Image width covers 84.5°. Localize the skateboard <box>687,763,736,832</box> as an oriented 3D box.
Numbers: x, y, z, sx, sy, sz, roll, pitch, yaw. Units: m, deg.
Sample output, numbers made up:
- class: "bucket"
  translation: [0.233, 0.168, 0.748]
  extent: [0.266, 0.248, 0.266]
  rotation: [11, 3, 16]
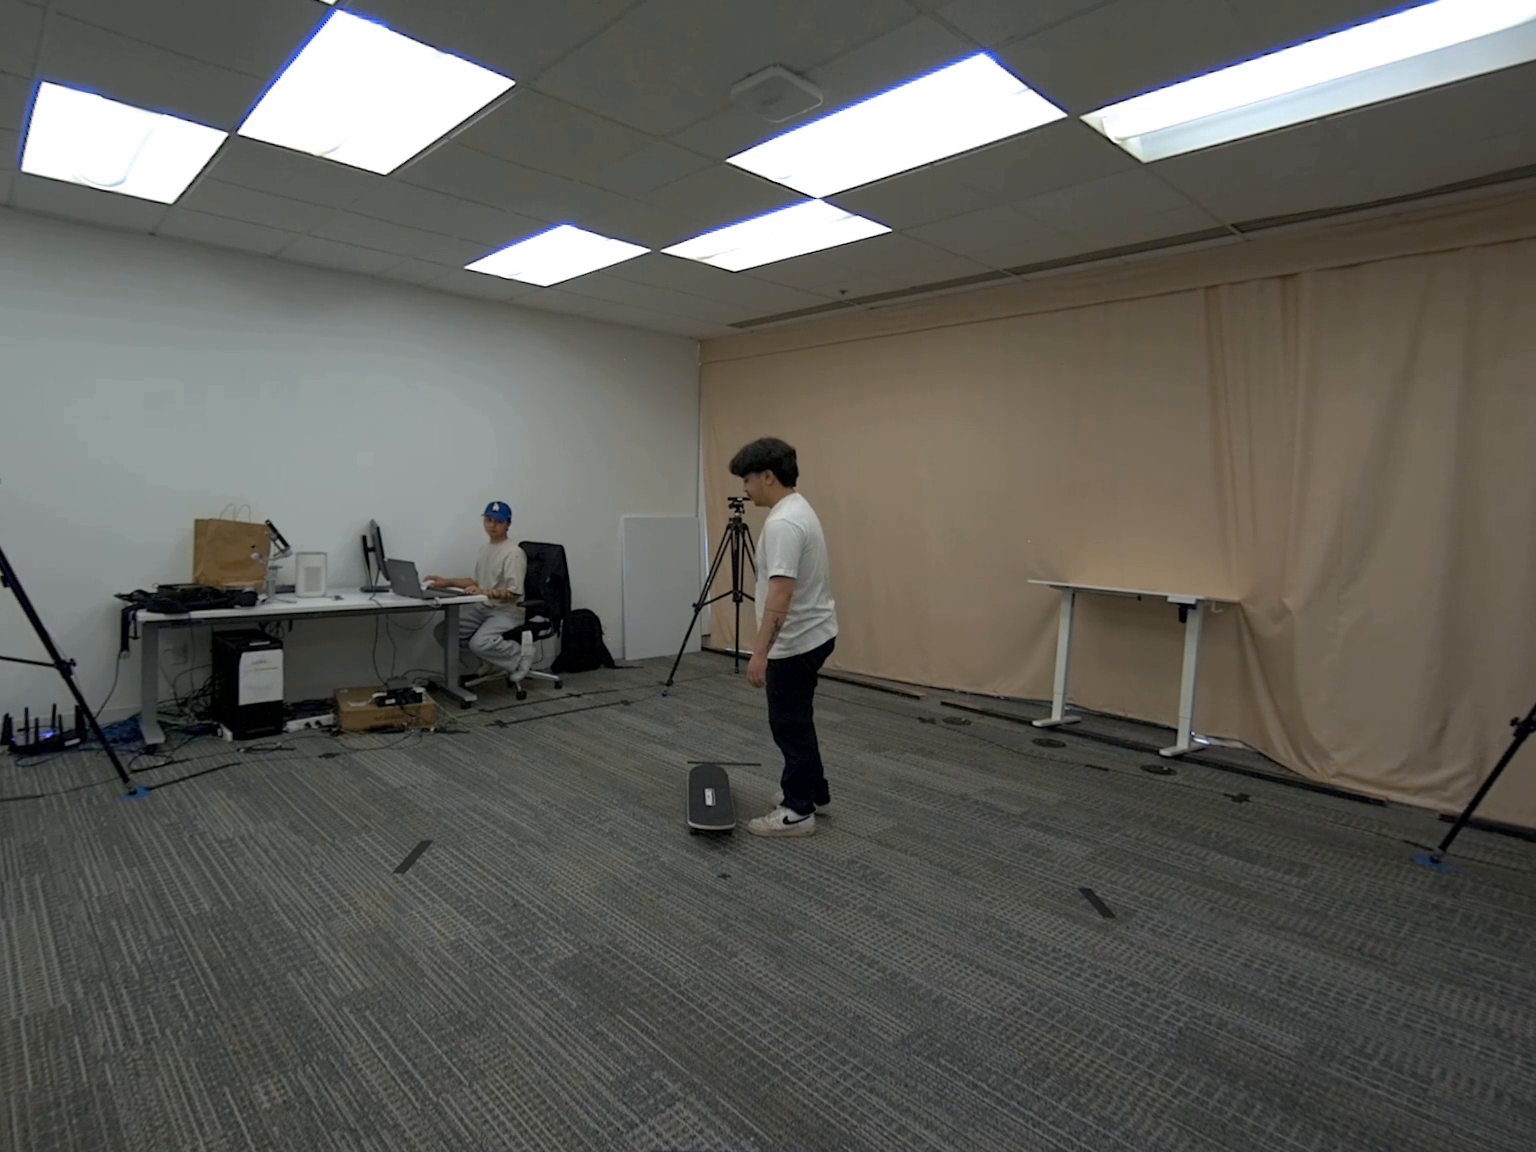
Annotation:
- class: "skateboard"
  translation: [-0.263, 0.995, 3.687]
  extent: [0.193, 0.110, 0.791]
  rotation: [0, 5, -6]
